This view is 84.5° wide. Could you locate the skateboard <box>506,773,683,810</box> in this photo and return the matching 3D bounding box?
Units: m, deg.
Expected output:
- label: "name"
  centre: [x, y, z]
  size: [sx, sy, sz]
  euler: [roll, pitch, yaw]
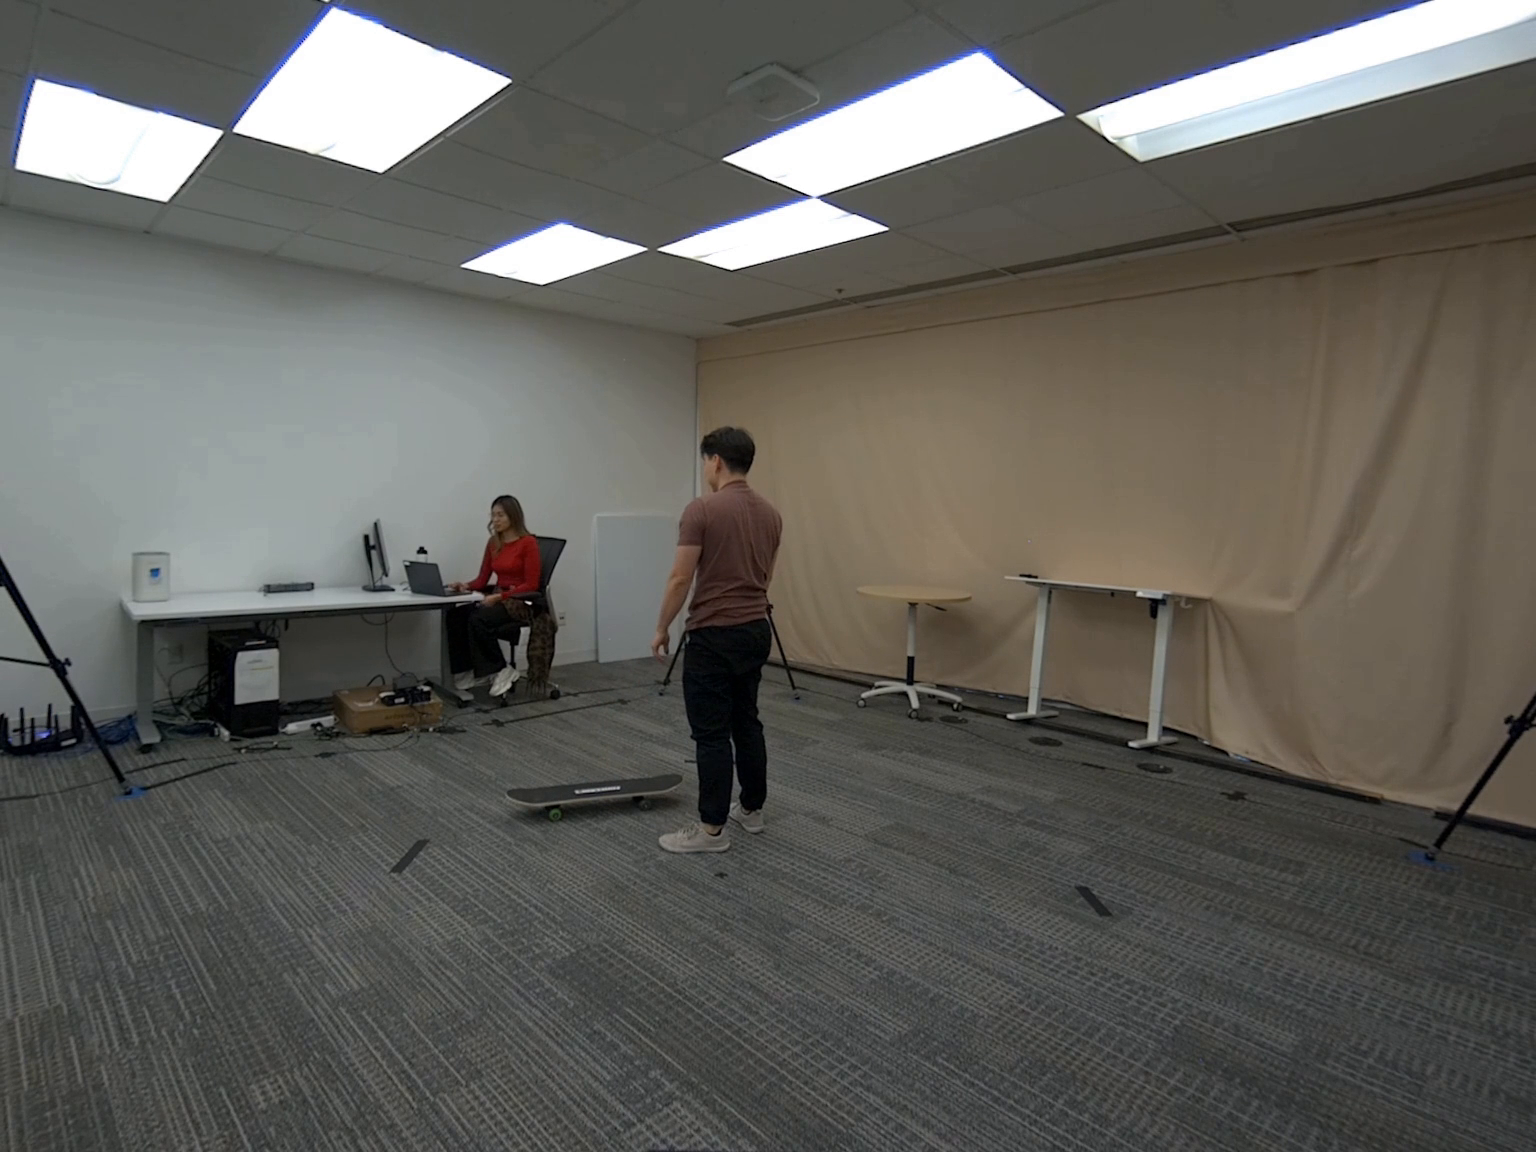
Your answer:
- label: "skateboard"
  centre: [-0.766, 0.979, 3.728]
  size: [0.773, 0.110, 0.197]
  euler: [-1, 7, -21]
